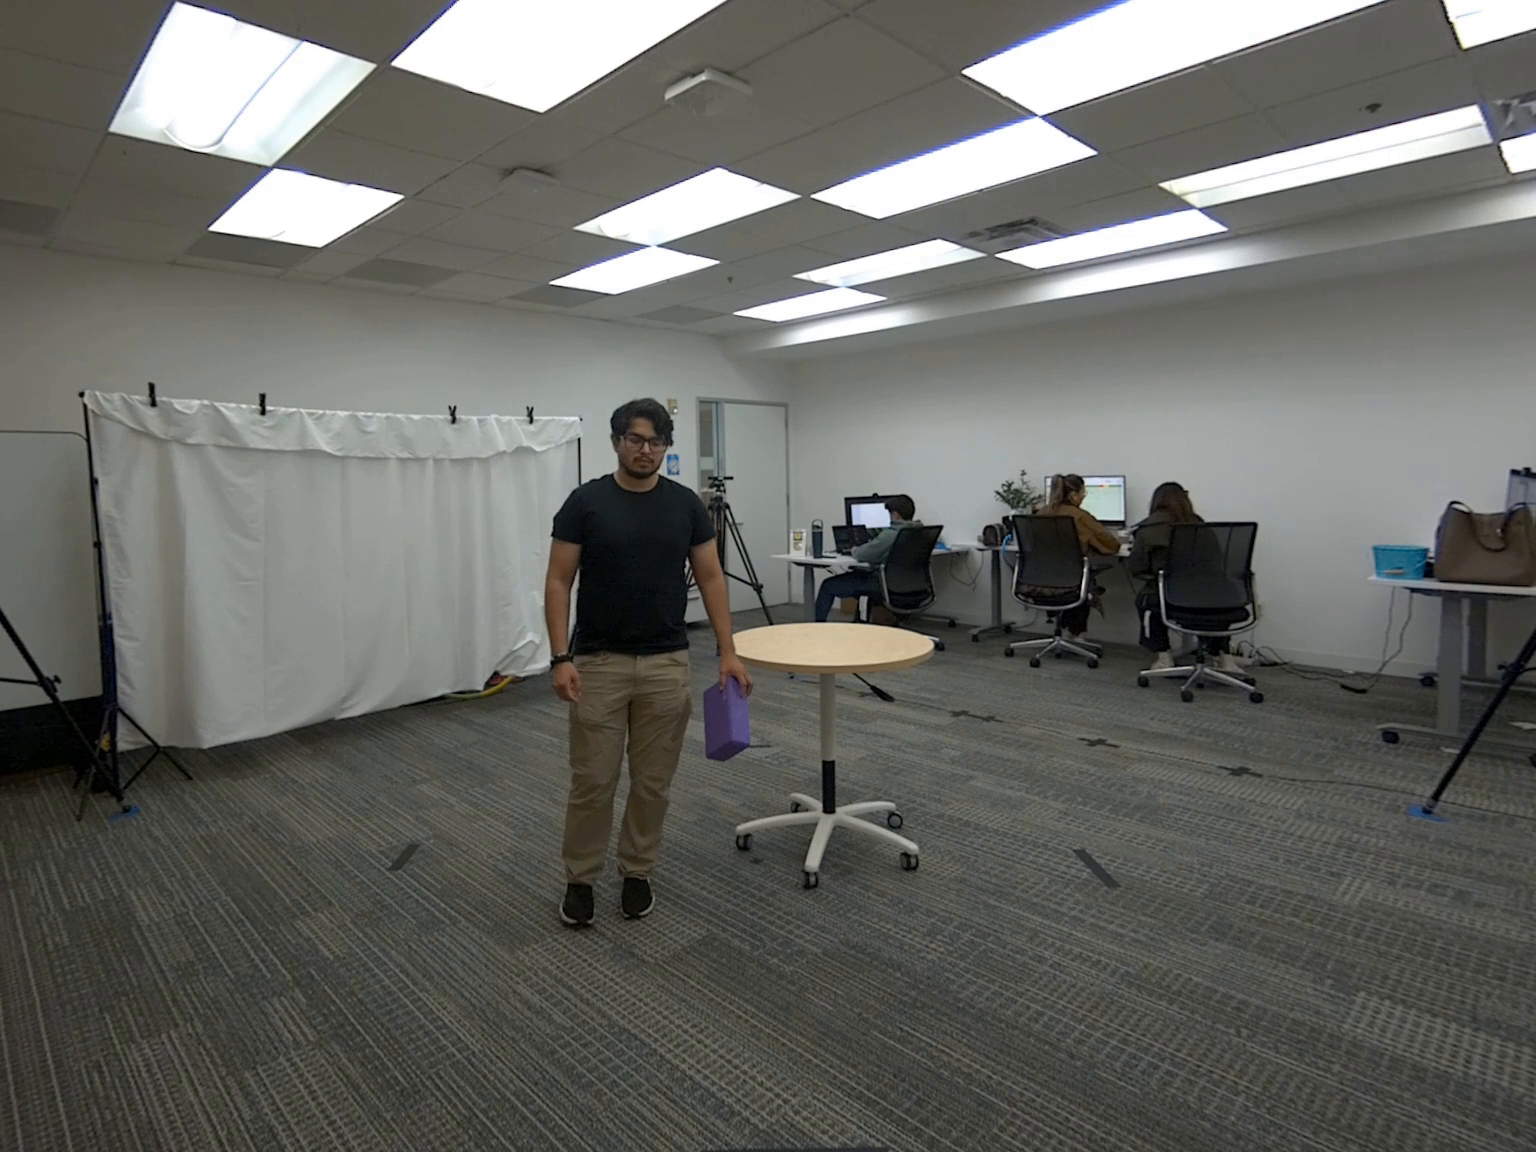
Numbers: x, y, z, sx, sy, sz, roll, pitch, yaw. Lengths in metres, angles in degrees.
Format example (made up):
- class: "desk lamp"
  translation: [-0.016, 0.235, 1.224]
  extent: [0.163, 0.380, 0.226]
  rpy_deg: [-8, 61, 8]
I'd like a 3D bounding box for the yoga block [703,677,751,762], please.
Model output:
- class: "yoga block"
  translation: [-0.132, 0.442, 2.668]
  extent: [0.074, 0.235, 0.149]
  rpy_deg: [19, -40, -30]
